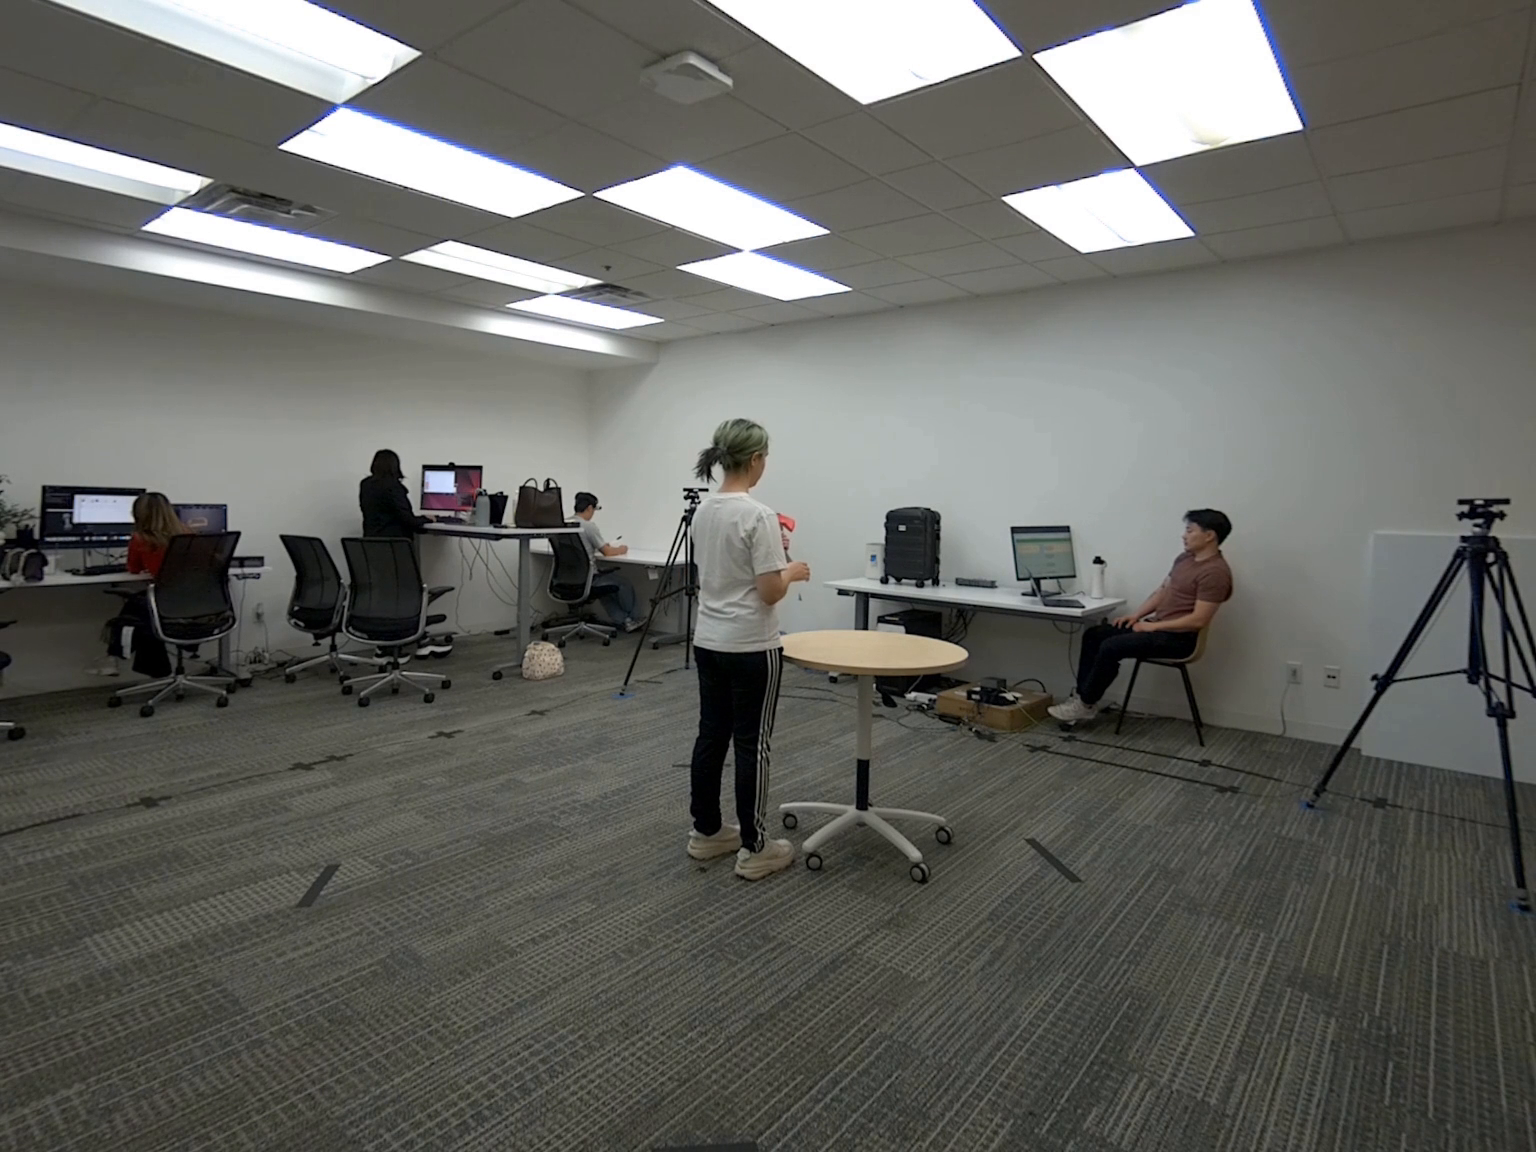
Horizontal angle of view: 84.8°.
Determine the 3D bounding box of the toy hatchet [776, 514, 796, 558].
[{"bbox_3d":[0.080,-0.145,3.399,0.128,0.279,0.029,-10,-32,-26],"label":"toy hatchet"}]
